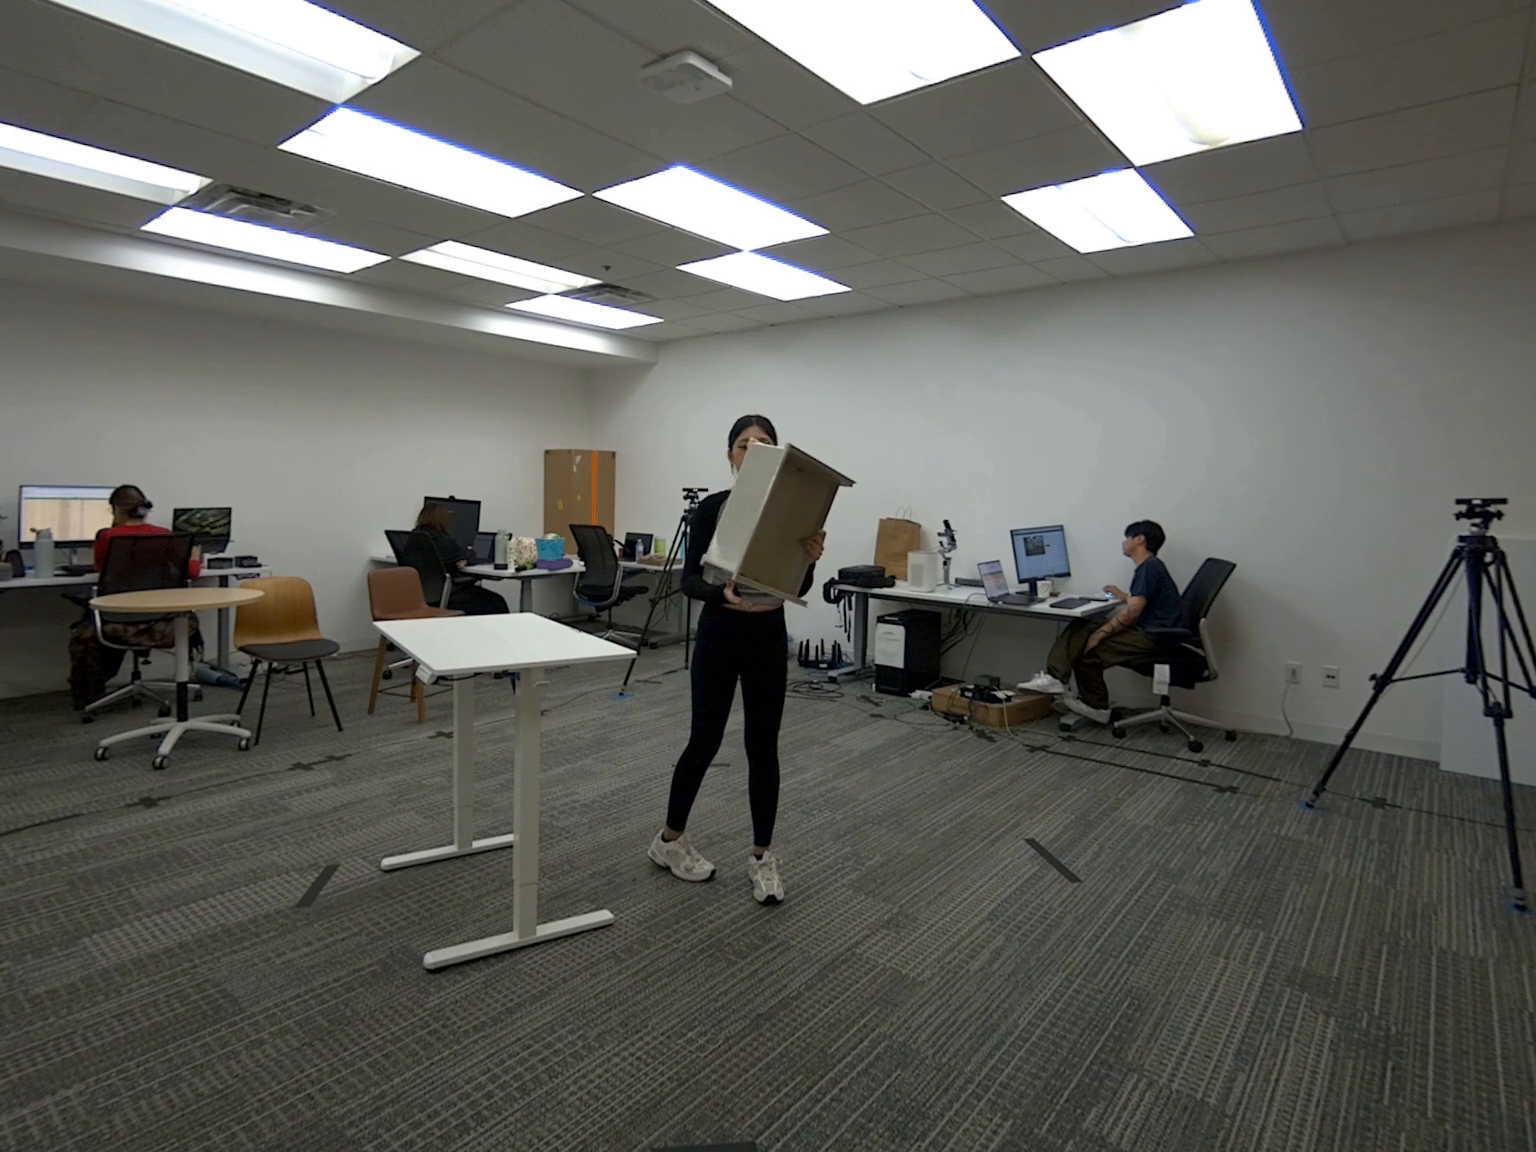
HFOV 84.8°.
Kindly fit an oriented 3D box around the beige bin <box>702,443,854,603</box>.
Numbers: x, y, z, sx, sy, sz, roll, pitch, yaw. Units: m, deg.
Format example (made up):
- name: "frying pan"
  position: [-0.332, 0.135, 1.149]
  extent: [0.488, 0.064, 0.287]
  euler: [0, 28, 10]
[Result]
- name: "beige bin"
  position: [0.035, -0.159, 2.599]
  extent: [0.362, 0.423, 0.196]
  euler: [23, -2, -42]
